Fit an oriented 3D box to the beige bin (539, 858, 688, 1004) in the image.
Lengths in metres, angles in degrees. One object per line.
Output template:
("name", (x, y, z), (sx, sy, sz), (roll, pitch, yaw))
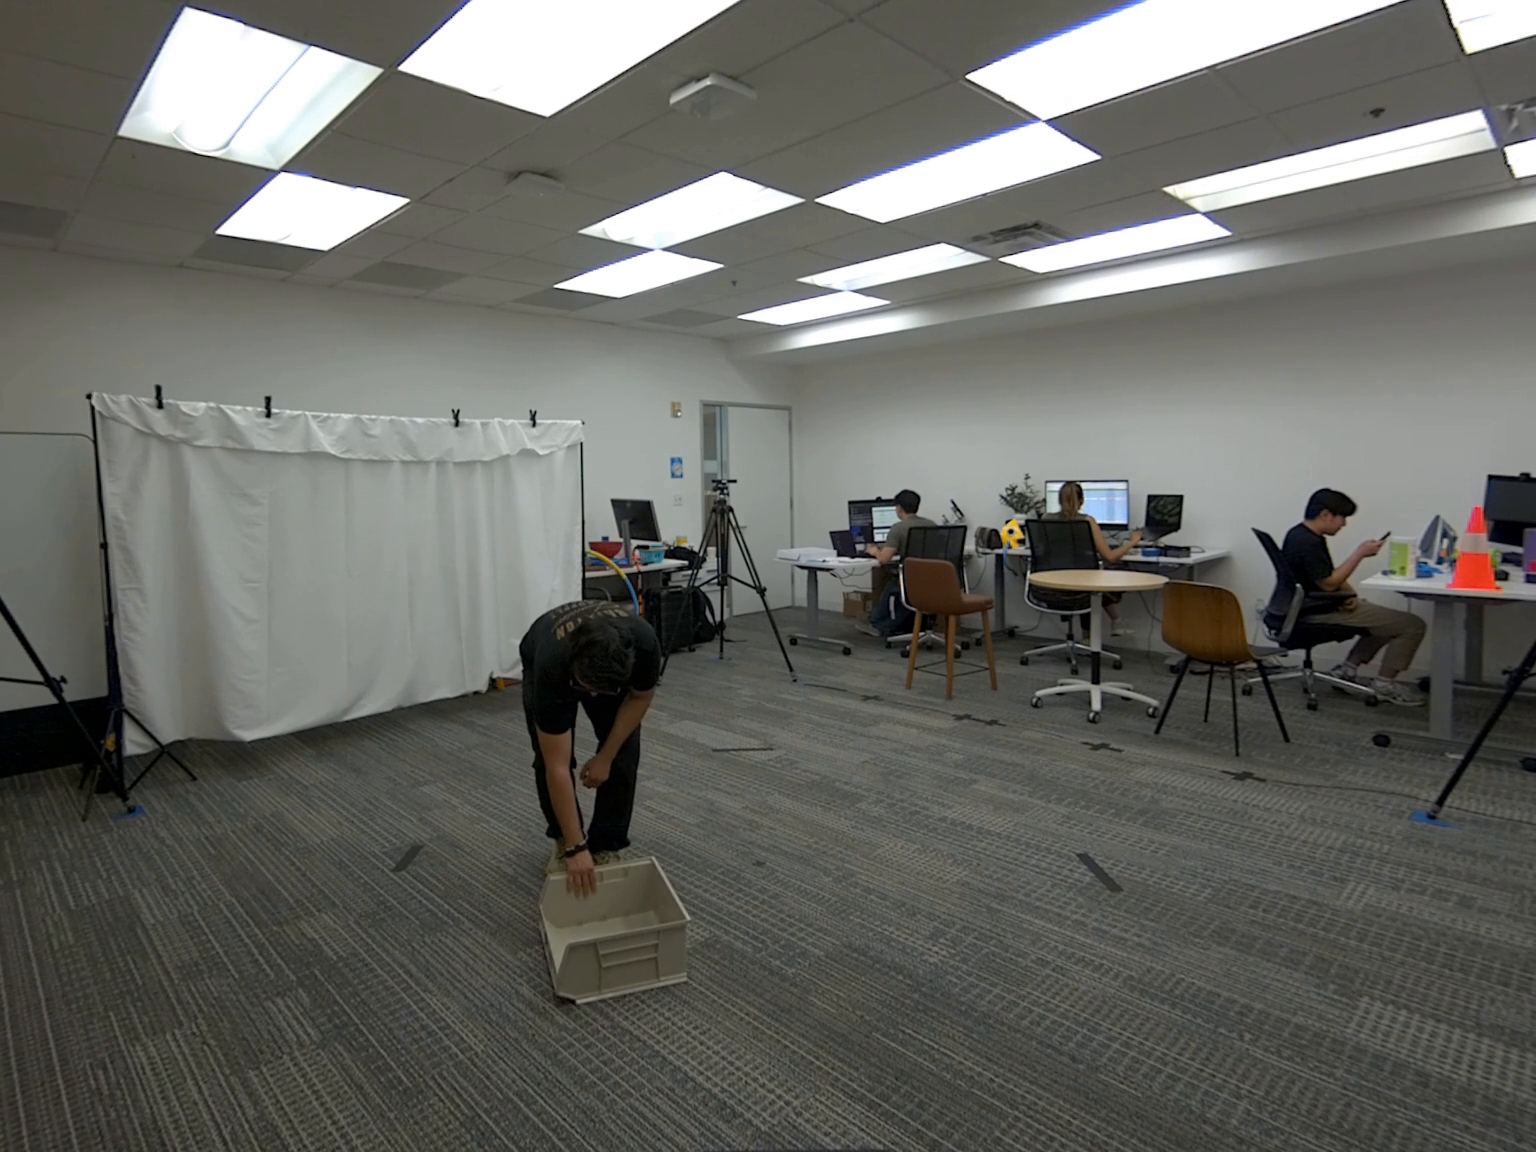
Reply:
("beige bin", (-0.459, 1.032, 2.518), (0.370, 0.188, 0.431), (-2, 5, -21))
